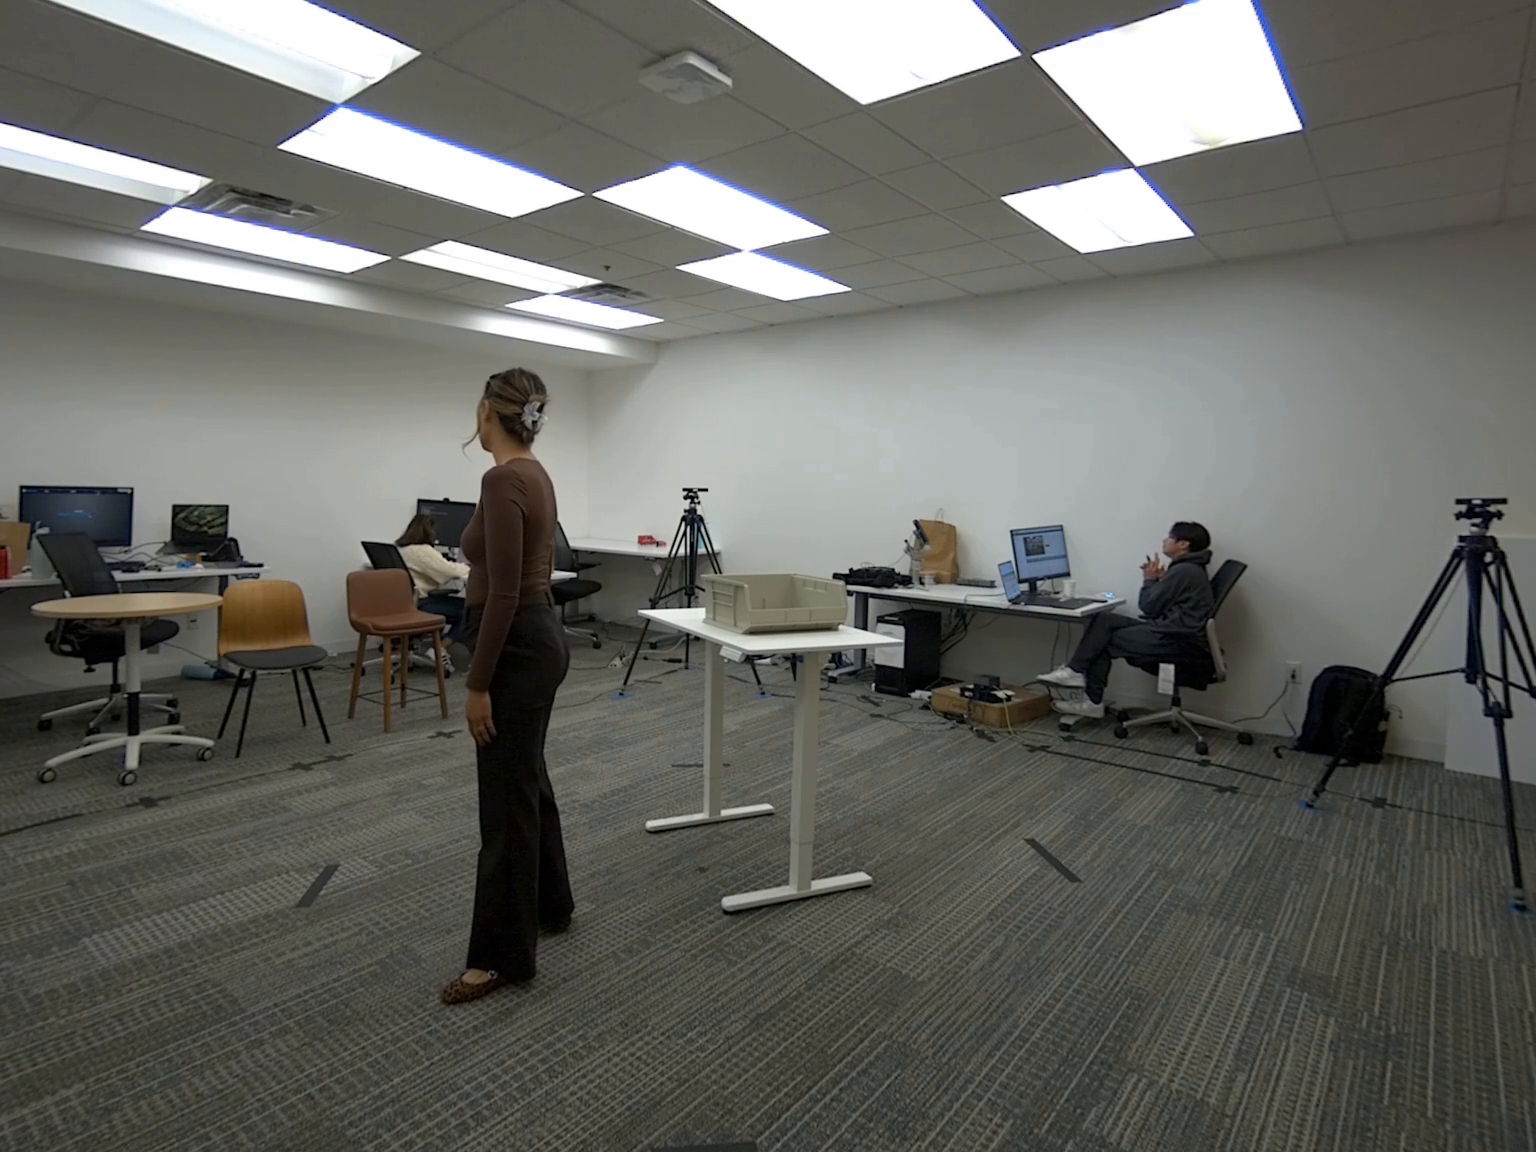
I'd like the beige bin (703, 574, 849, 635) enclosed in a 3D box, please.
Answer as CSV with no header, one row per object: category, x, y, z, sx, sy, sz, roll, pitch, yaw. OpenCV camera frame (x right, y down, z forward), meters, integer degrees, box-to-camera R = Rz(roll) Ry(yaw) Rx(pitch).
beige bin,0.013,0.097,3.153,0.411,0.188,0.388,-2,4,-29
